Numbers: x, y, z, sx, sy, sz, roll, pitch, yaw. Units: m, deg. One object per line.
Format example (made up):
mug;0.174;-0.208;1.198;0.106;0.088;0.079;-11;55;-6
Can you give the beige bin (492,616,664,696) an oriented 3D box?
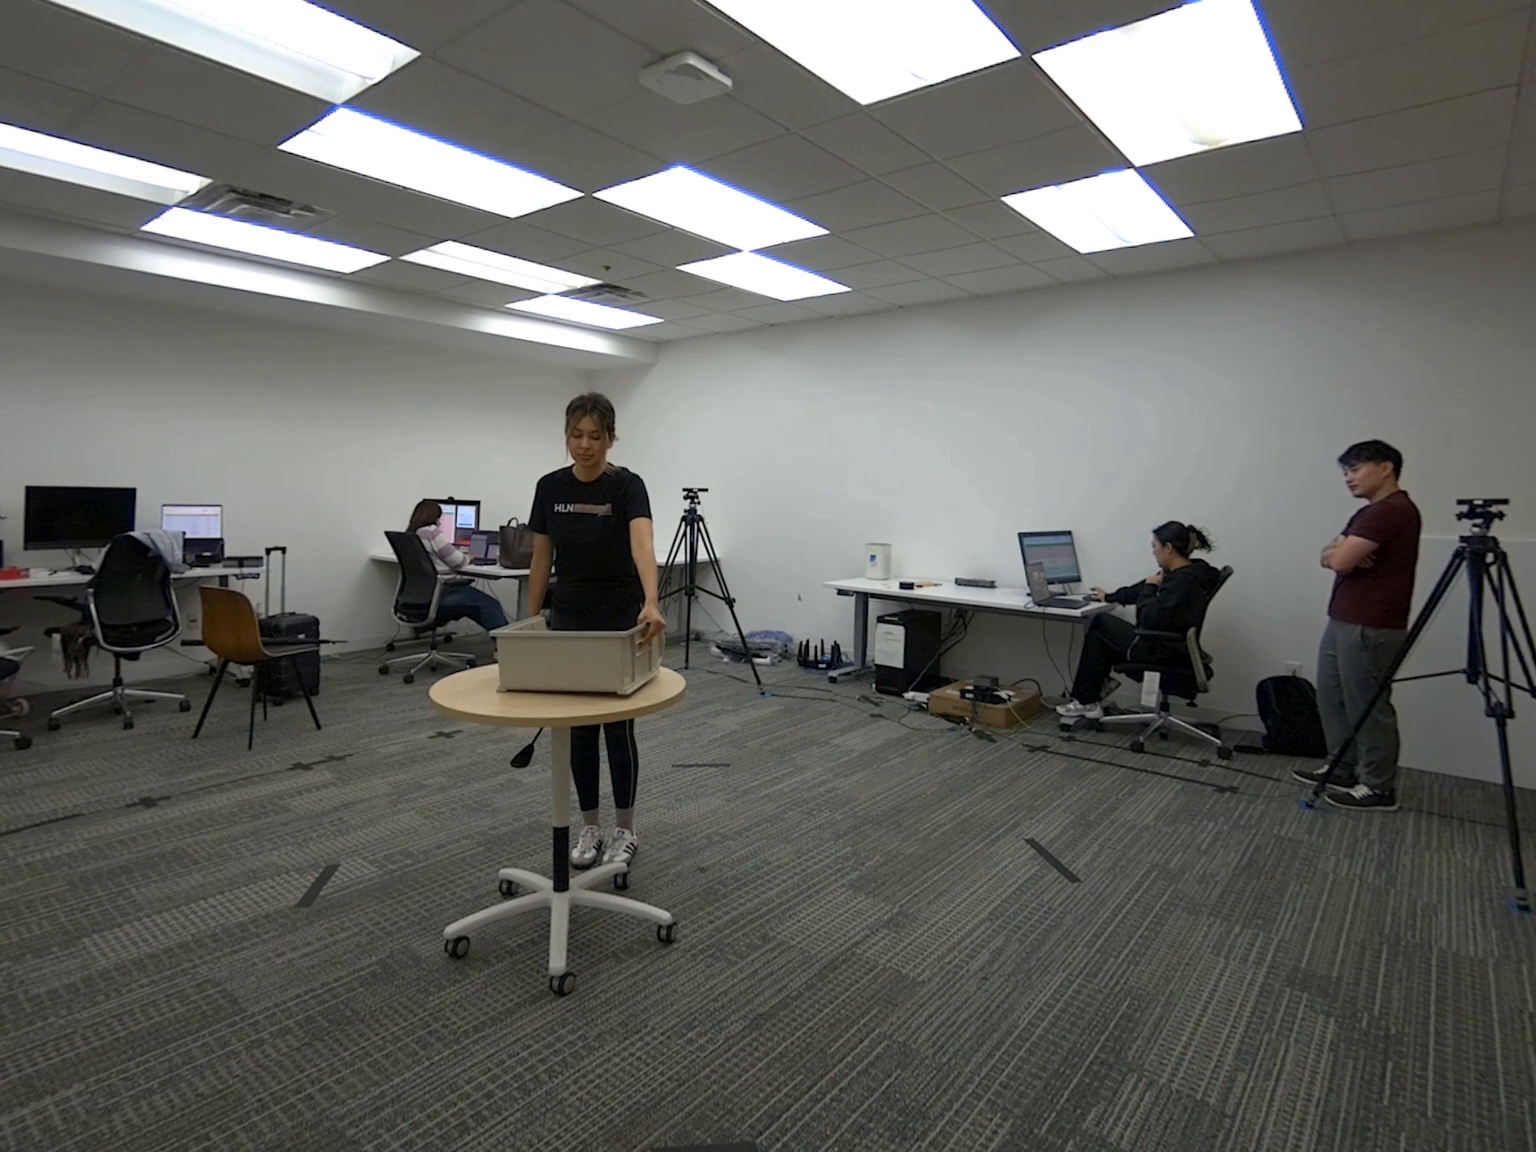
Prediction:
beige bin;-0.579;0.229;2.615;0.428;0.188;0.375;0;7;11
